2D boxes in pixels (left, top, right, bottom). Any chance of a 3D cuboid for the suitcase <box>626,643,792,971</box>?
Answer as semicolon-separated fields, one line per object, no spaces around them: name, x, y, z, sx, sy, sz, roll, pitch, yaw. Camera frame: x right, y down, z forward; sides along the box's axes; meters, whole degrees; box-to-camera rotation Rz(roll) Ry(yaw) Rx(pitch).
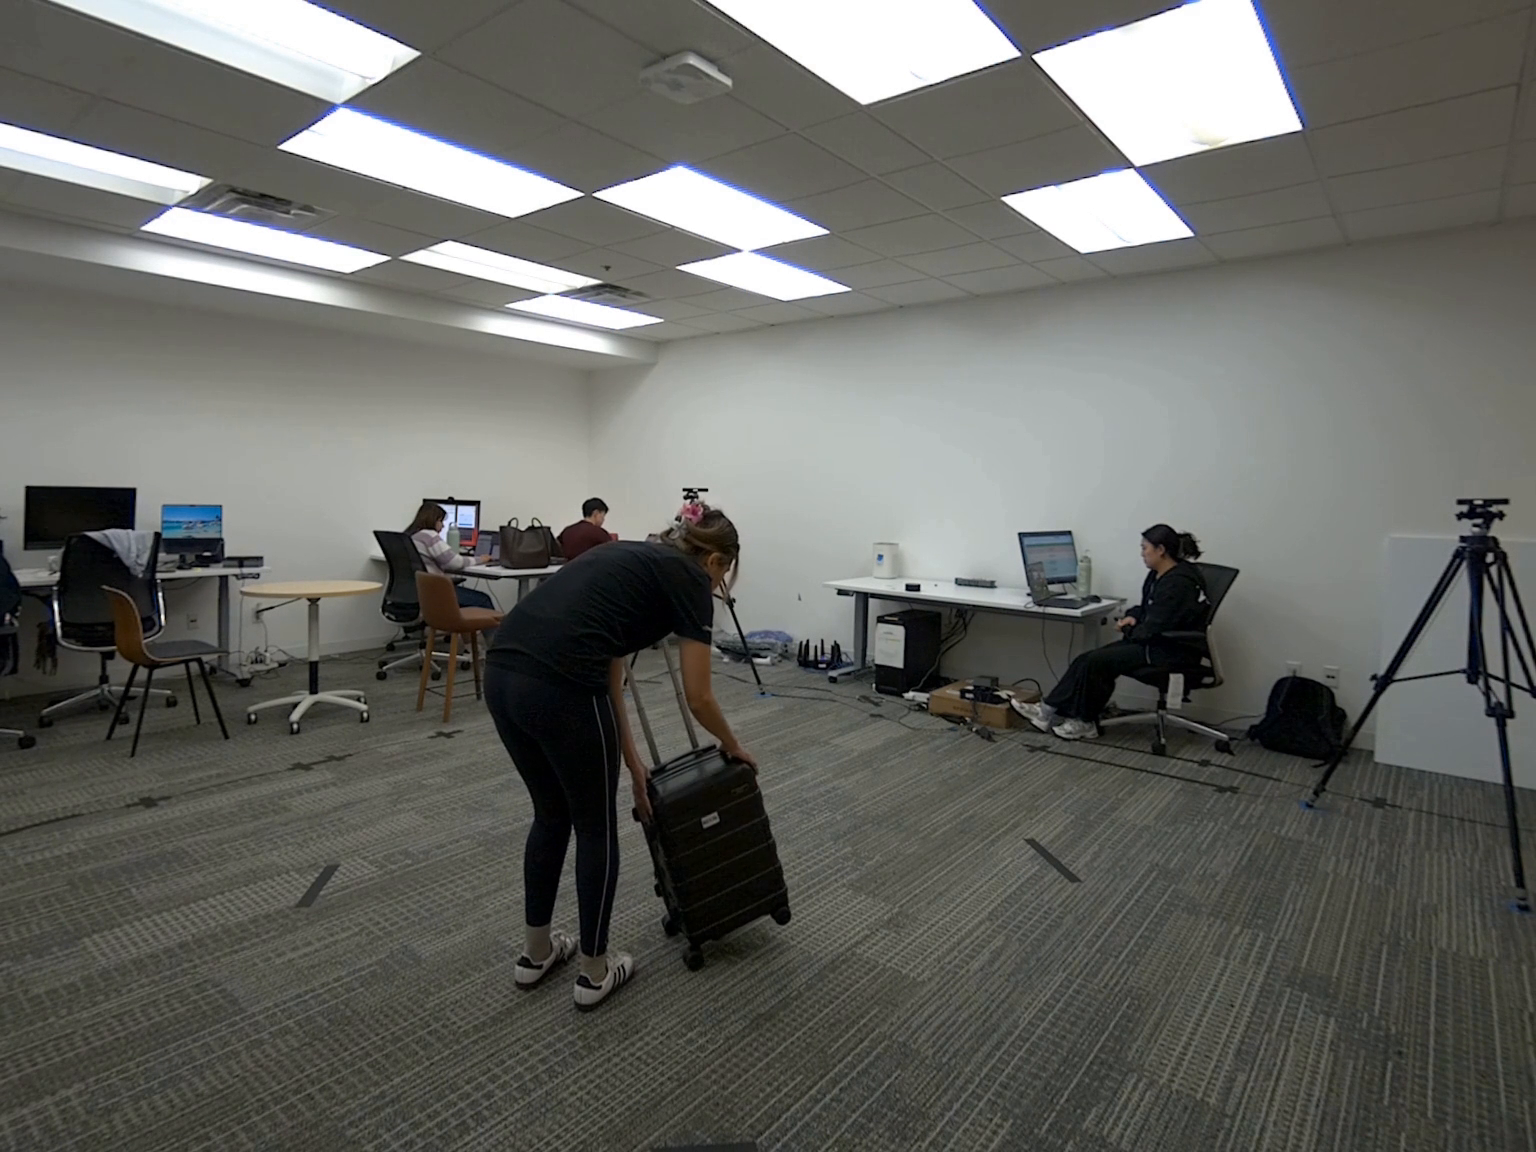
suitcase;-0.234;0.619;2.552;0.379;0.968;0.263;-17;10;-18
